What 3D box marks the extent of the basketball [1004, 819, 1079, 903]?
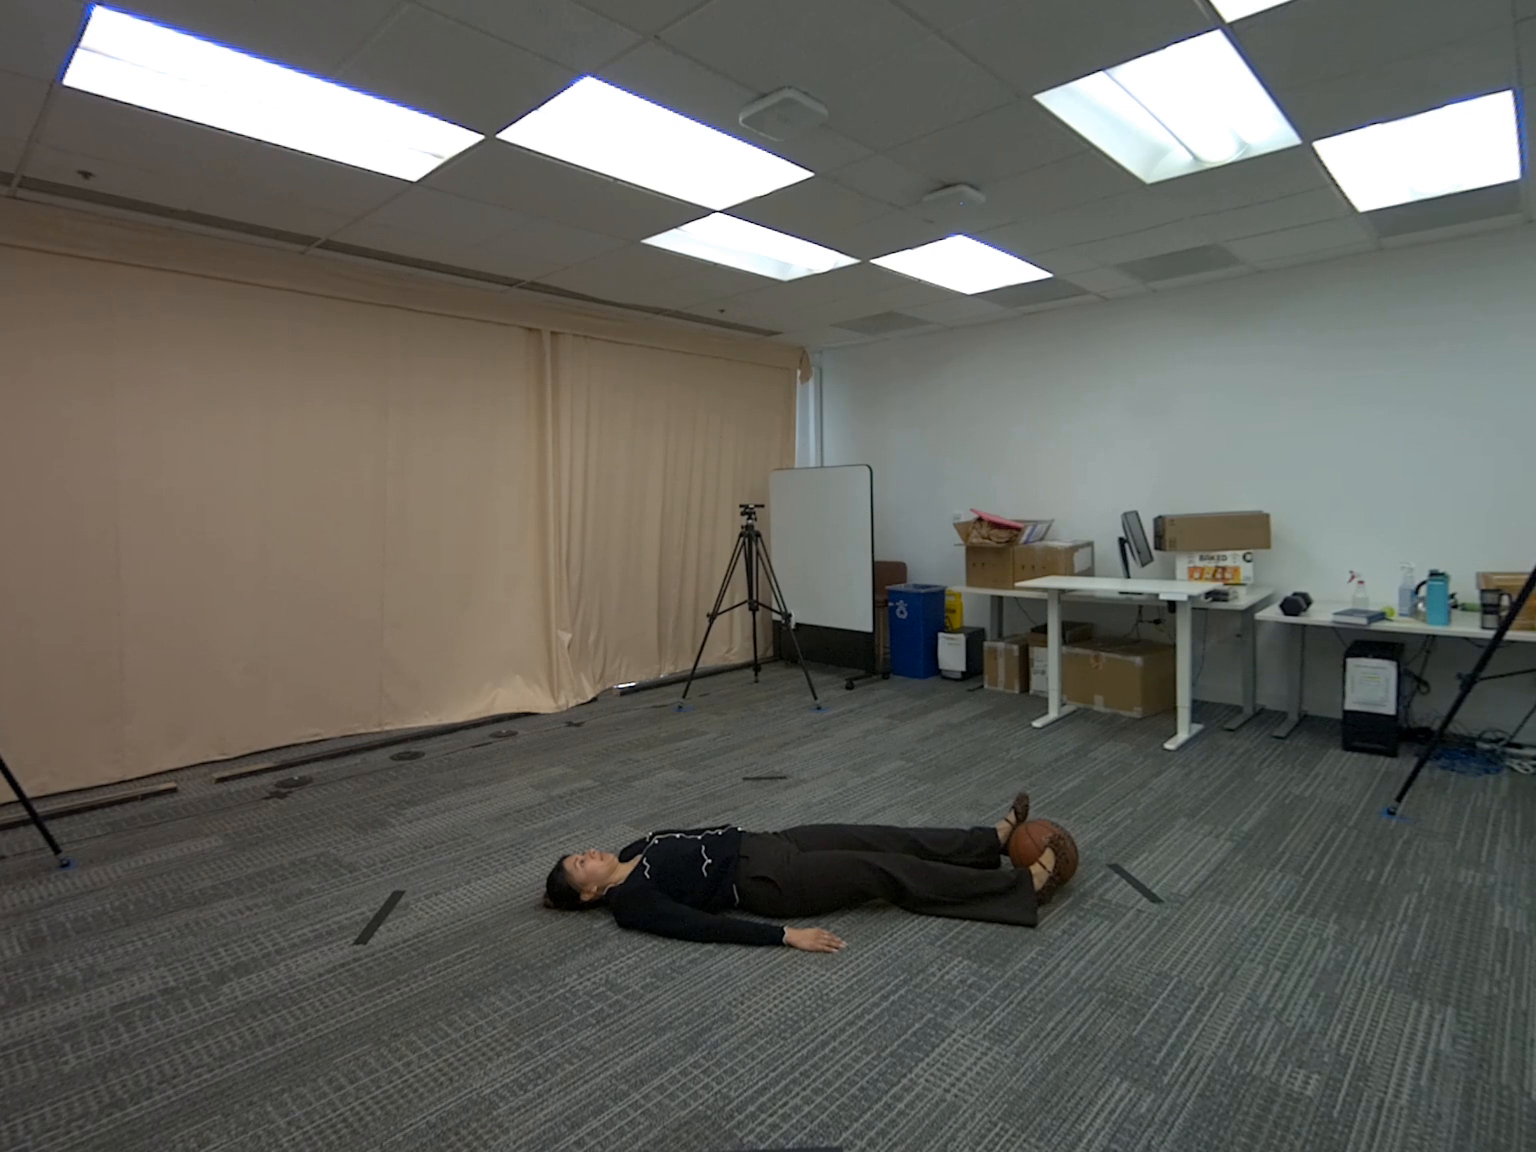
[{"bbox_3d":[0.994,0.993,3.040,0.236,0.236,0.236,0,1,-2],"label":"basketball"}]
